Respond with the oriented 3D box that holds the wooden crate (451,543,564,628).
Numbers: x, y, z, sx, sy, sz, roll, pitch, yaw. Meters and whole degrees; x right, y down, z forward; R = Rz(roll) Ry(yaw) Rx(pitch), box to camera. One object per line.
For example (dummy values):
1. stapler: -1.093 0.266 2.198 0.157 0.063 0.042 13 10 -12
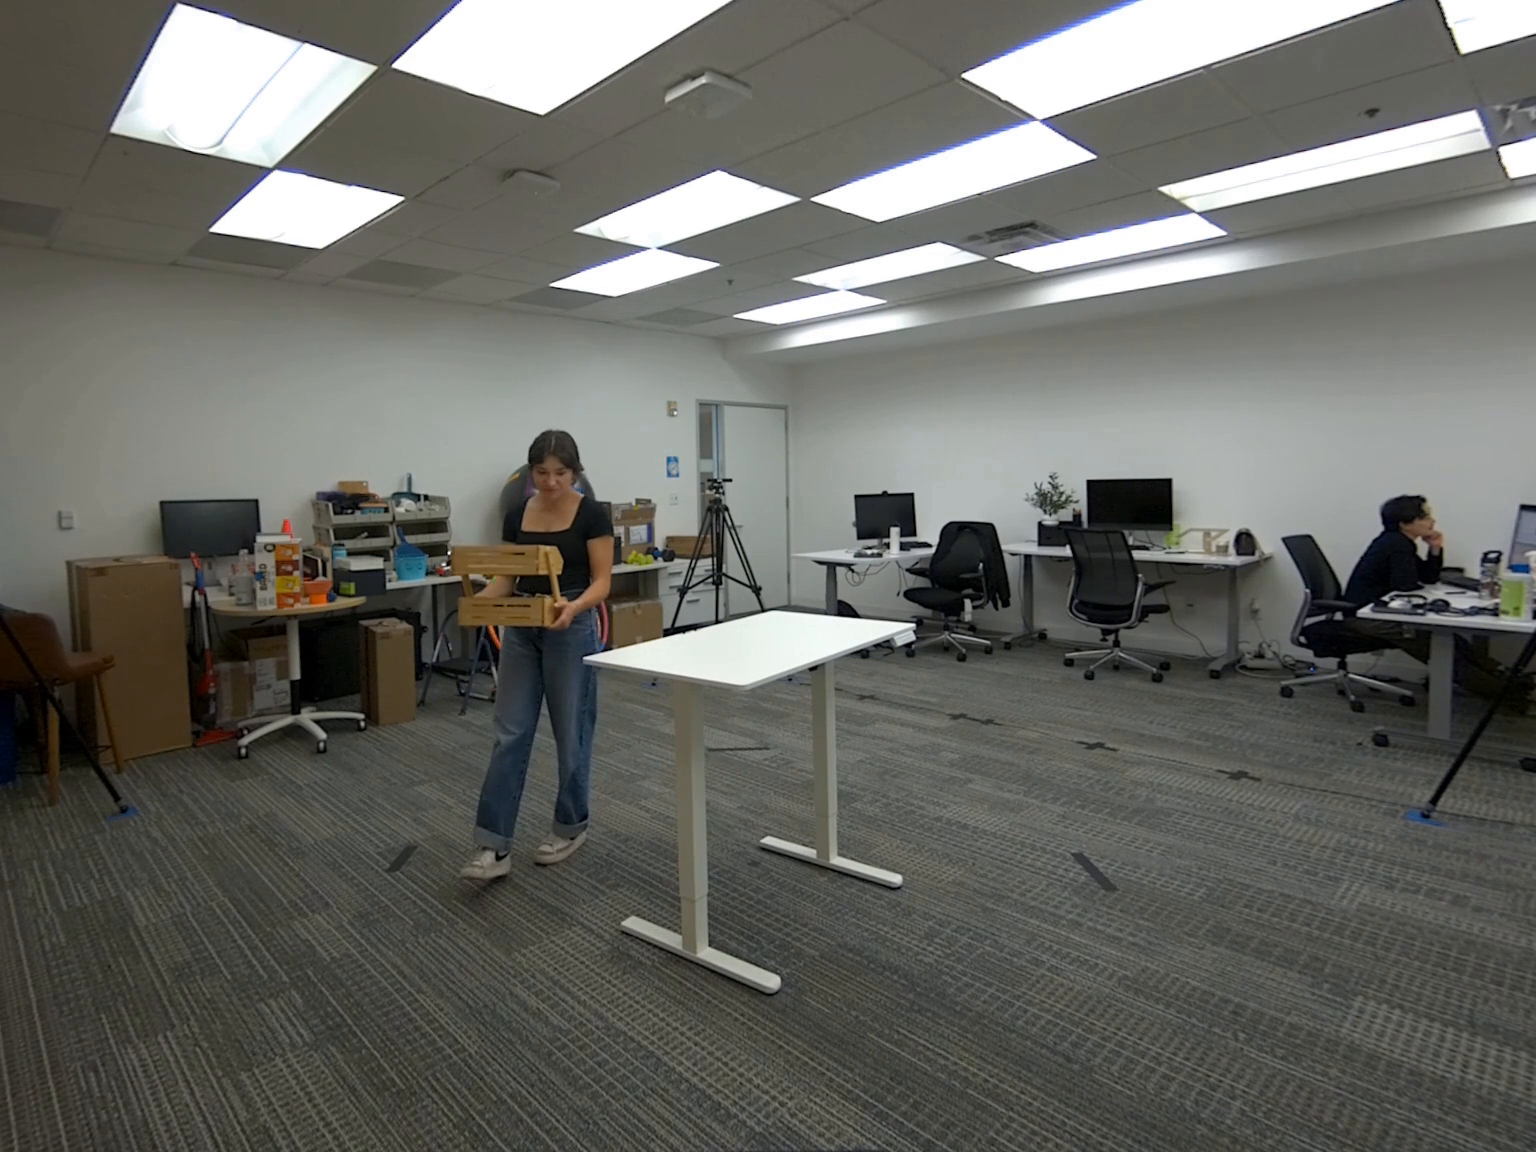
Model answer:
1. wooden crate: -0.870 0.034 2.877 0.327 0.274 0.298 -1 -2 9
